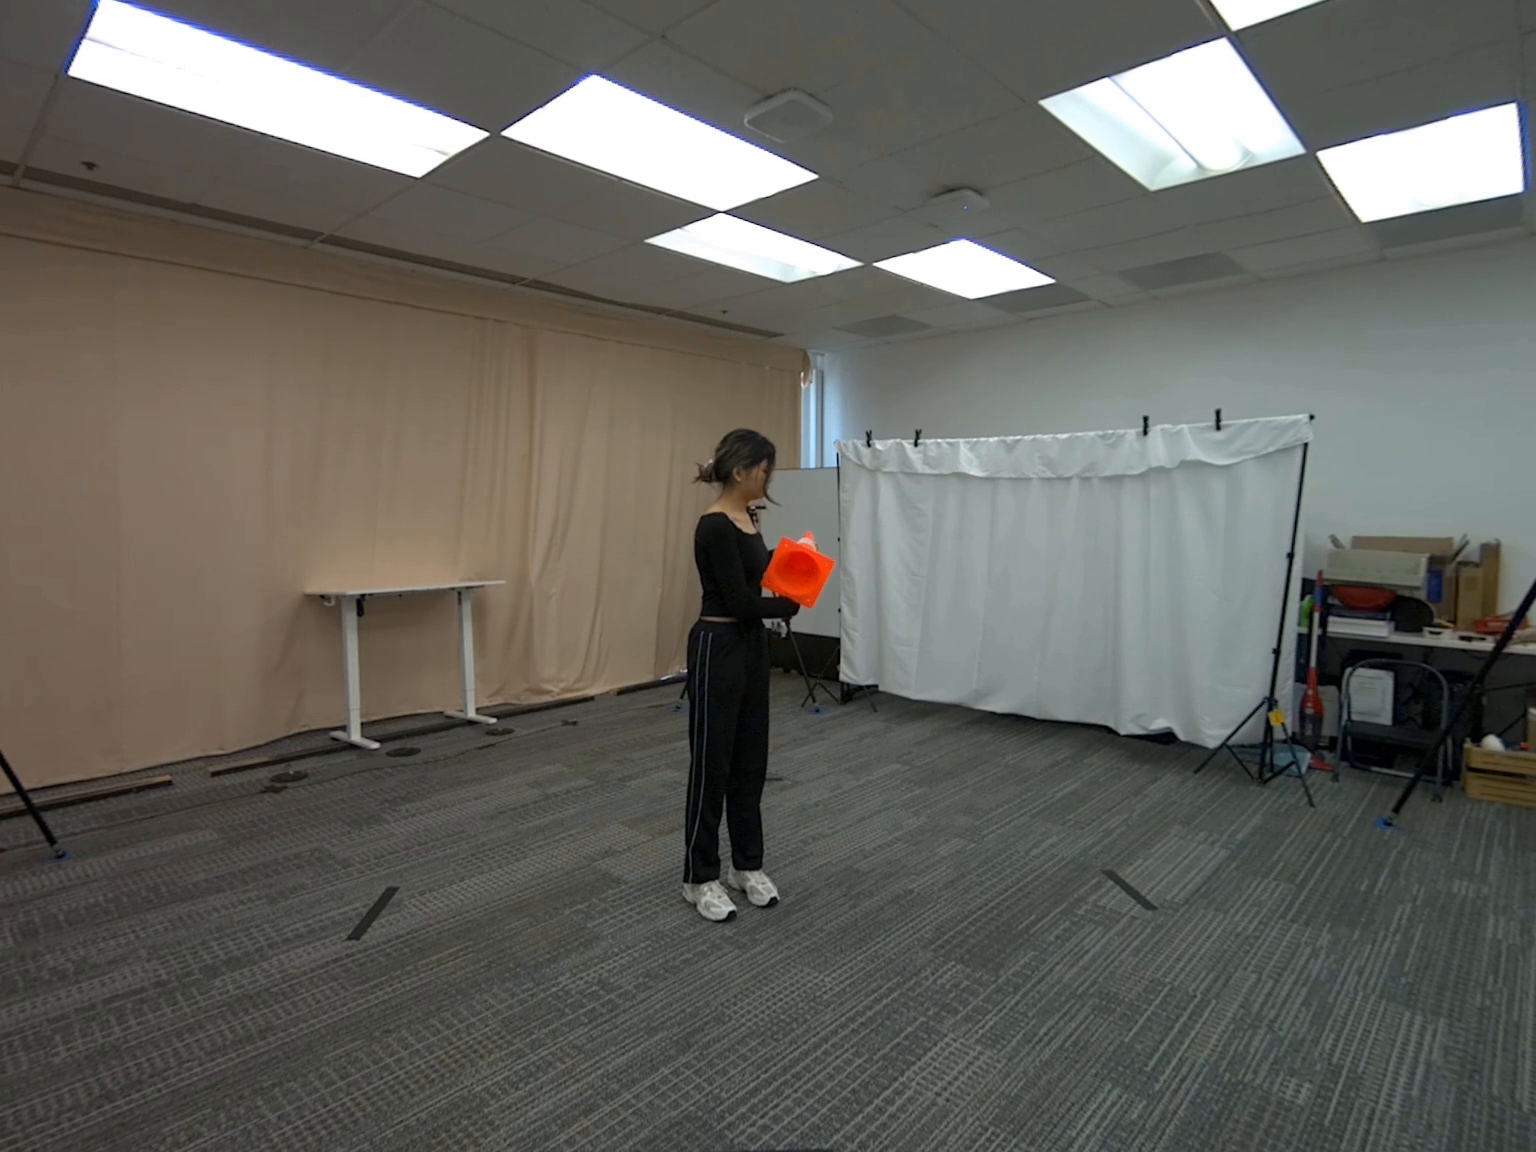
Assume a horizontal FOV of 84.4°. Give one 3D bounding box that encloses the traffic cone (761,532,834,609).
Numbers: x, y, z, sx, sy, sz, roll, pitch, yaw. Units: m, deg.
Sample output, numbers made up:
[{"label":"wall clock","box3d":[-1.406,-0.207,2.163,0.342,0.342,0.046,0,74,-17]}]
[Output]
[{"label":"traffic cone","box3d":[0.131,-0.078,3.038,0.205,0.203,0.385,24,23,-2]}]
